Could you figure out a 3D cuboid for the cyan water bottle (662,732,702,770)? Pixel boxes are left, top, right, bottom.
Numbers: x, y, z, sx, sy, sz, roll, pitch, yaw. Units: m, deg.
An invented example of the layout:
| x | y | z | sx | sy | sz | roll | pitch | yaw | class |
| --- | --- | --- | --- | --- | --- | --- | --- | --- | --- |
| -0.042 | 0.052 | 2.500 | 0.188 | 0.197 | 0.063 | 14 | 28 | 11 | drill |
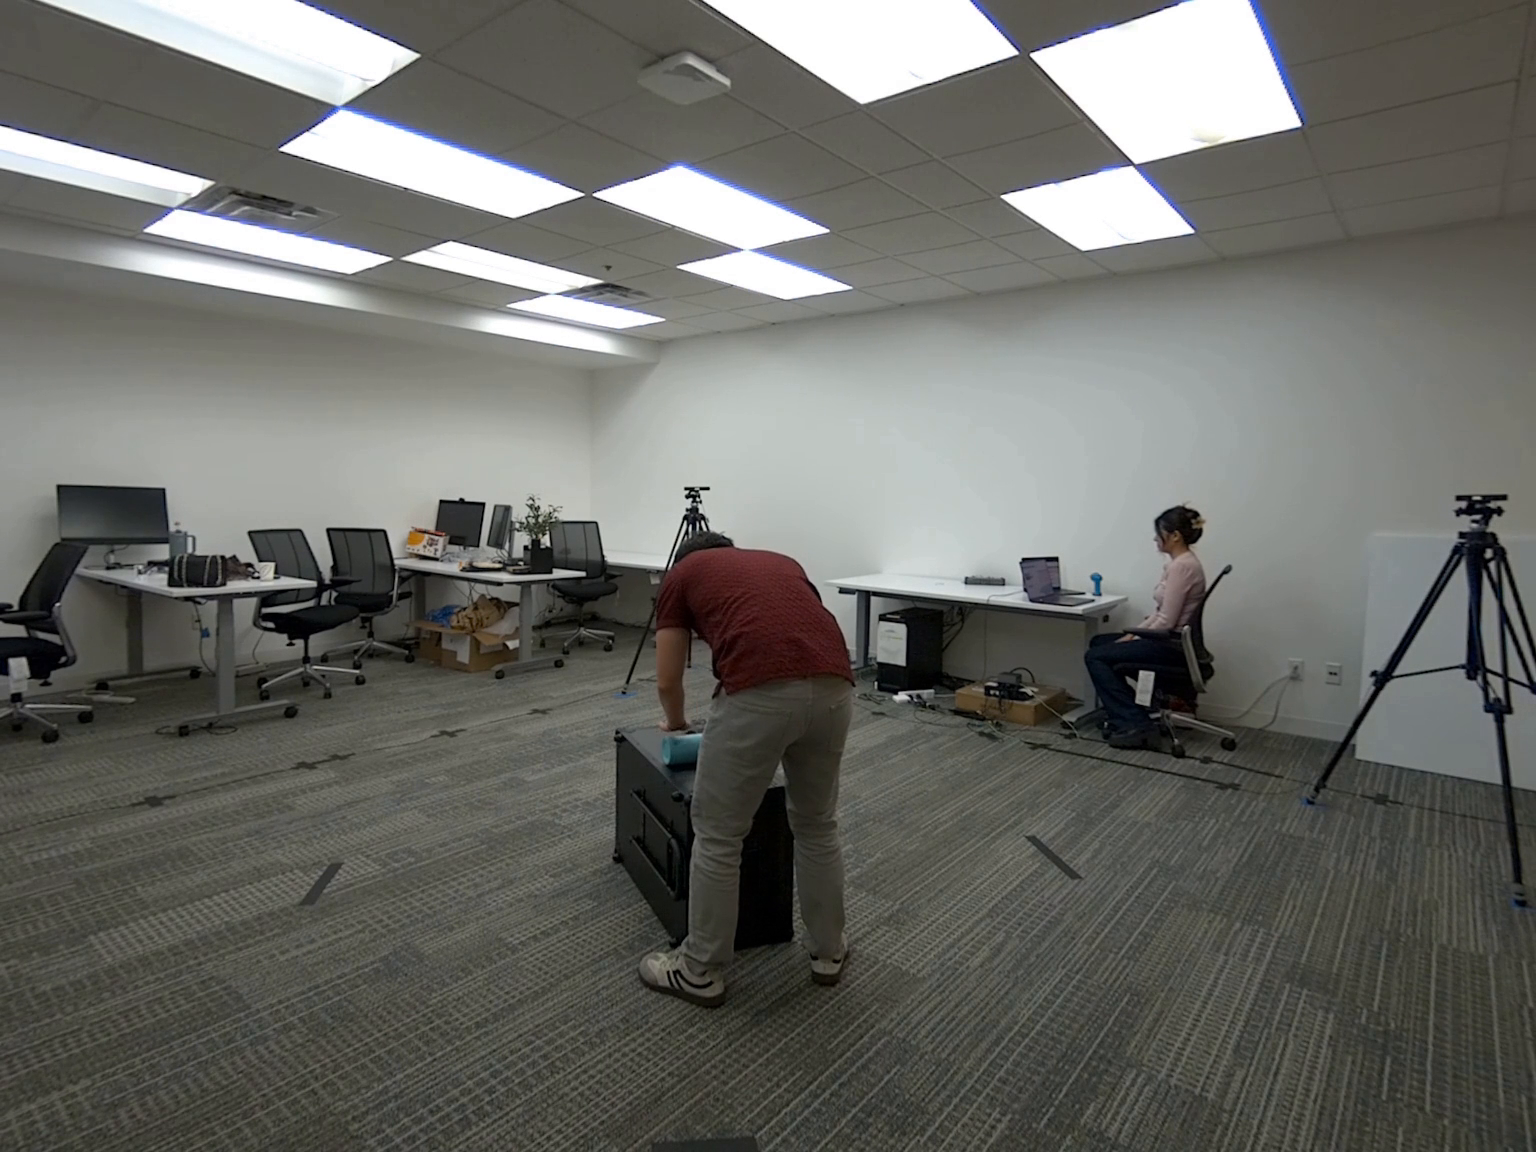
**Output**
| x | y | z | sx | sy | sz | roll | pitch | yaw | class |
| --- | --- | --- | --- | --- | --- | --- | --- | --- | --- |
| -0.218 | 0.560 | 2.824 | 0.277 | 0.092 | 0.095 | -2 | 5 | -23 | cyan water bottle |
